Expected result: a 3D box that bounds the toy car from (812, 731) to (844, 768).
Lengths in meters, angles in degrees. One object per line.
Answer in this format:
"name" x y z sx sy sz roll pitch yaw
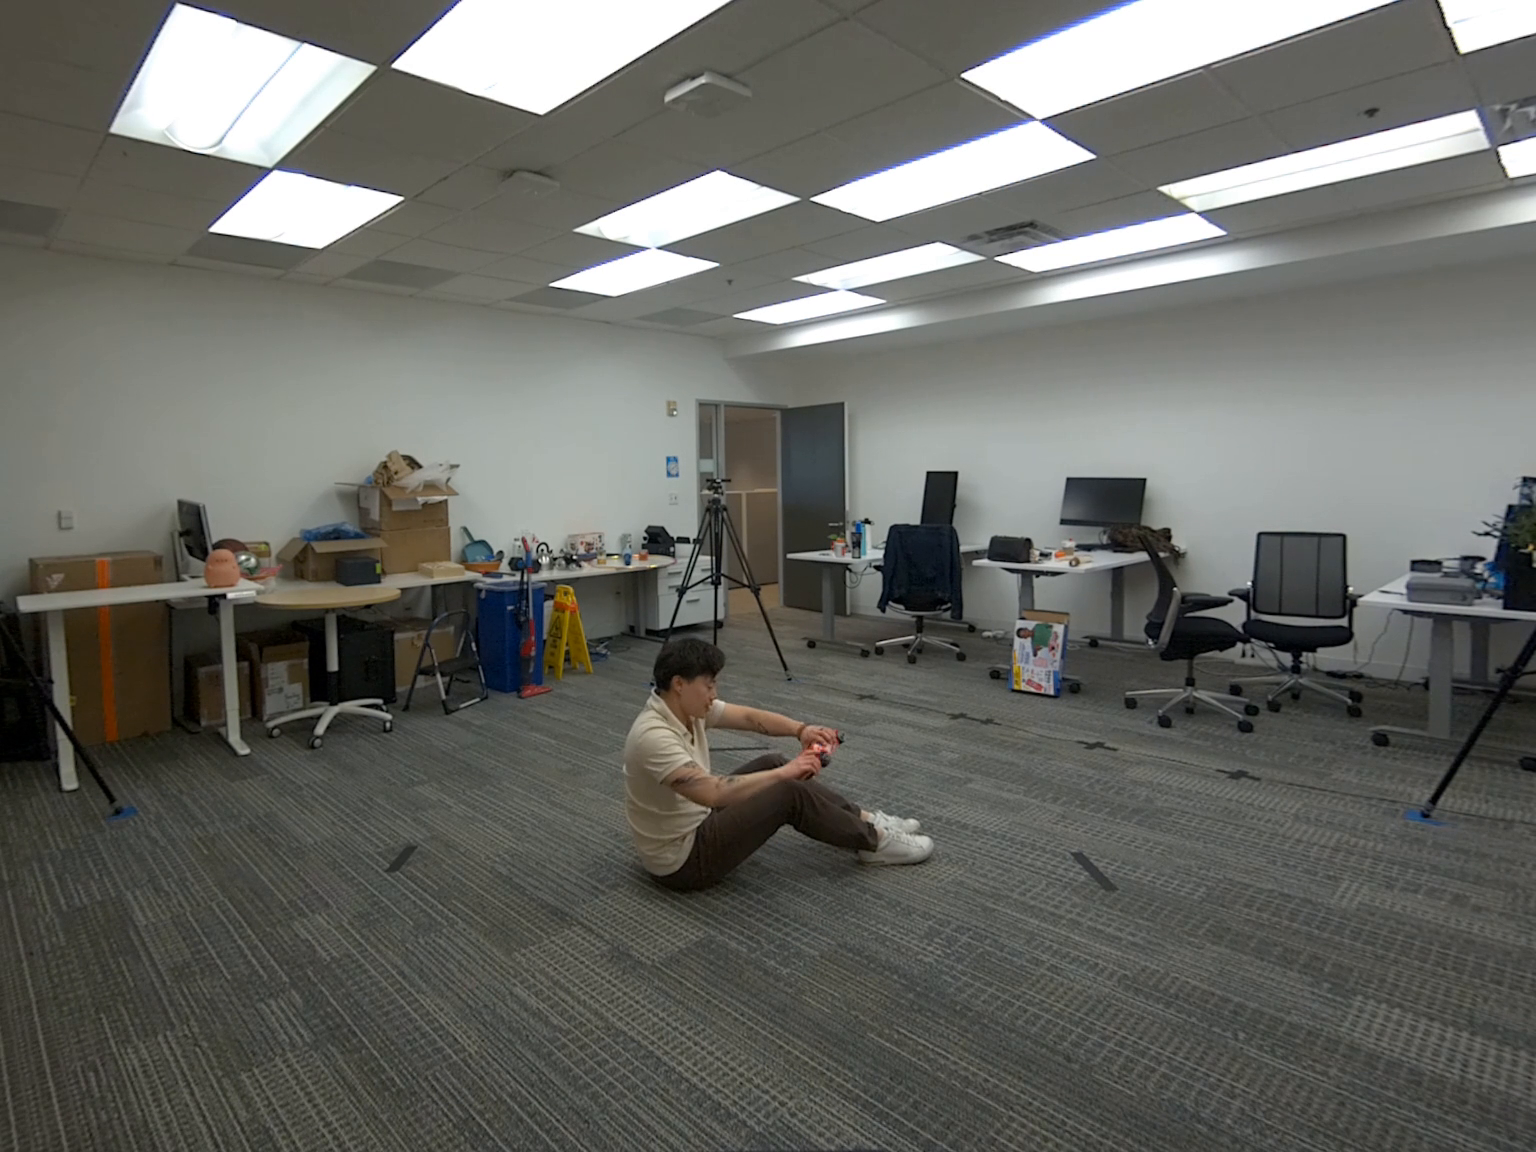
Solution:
"toy car" 0.160 0.609 2.878 0.250 0.085 0.130 -20 -19 -51
